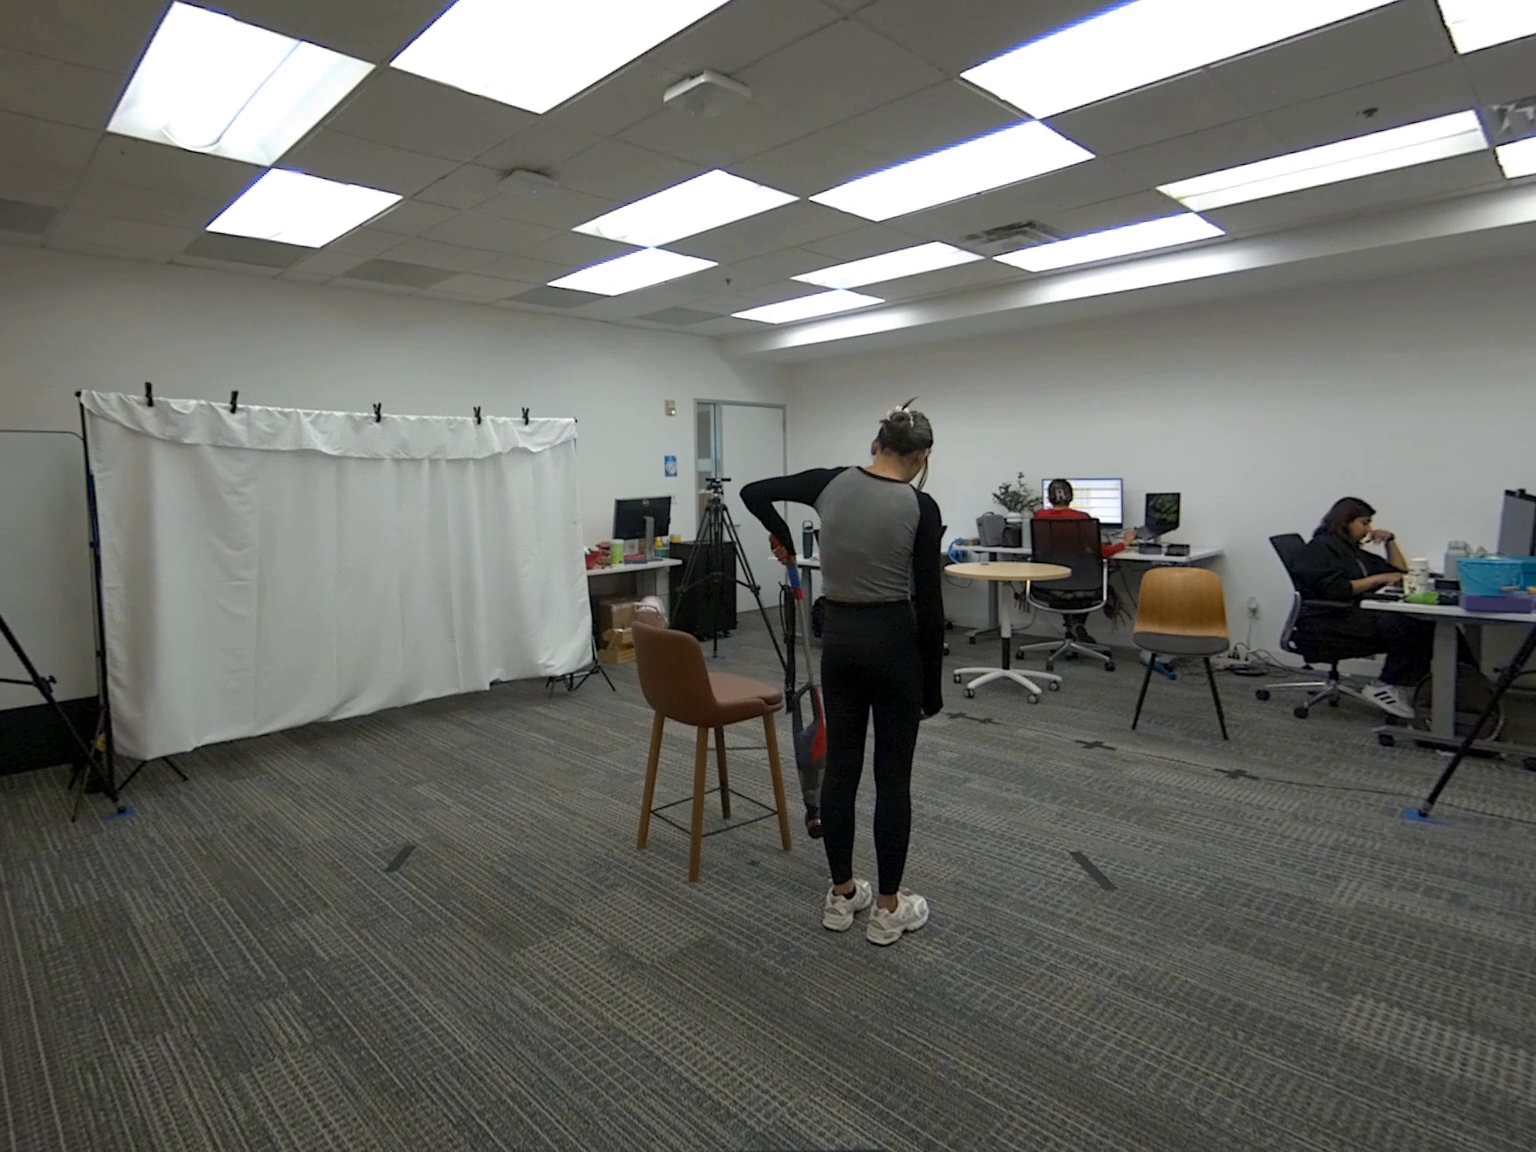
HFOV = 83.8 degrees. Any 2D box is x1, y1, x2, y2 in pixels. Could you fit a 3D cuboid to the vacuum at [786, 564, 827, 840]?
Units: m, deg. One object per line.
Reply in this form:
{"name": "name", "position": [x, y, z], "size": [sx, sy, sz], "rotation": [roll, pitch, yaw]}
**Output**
{"name": "vacuum", "position": [0.117, 0.381, 2.931], "size": [0.143, 1.044, 0.256], "rotation": [-9, 5, -10]}
